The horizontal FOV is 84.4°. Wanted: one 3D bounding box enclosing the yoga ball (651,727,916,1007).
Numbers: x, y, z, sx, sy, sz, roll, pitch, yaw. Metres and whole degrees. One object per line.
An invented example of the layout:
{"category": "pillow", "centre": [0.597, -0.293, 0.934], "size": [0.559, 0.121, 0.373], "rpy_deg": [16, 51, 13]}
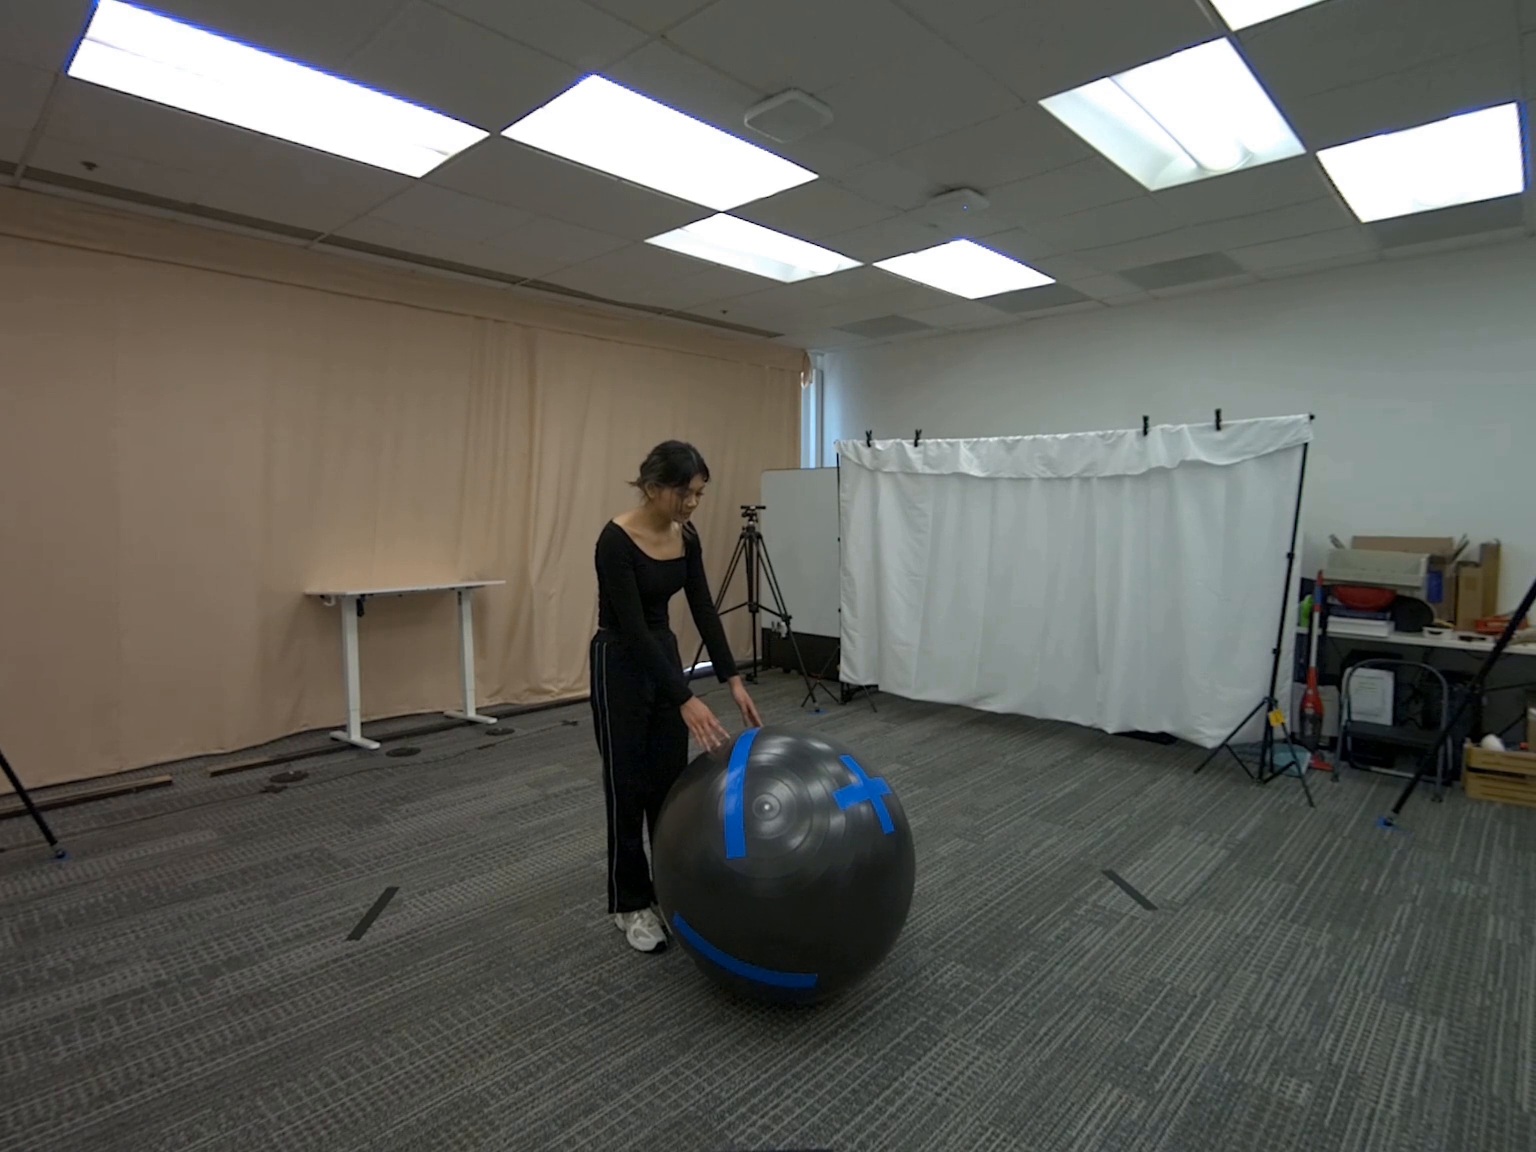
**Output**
{"category": "yoga ball", "centre": [0.052, 0.836, 2.437], "size": [0.757, 0.756, 0.760], "rpy_deg": [0, 4, -2]}
